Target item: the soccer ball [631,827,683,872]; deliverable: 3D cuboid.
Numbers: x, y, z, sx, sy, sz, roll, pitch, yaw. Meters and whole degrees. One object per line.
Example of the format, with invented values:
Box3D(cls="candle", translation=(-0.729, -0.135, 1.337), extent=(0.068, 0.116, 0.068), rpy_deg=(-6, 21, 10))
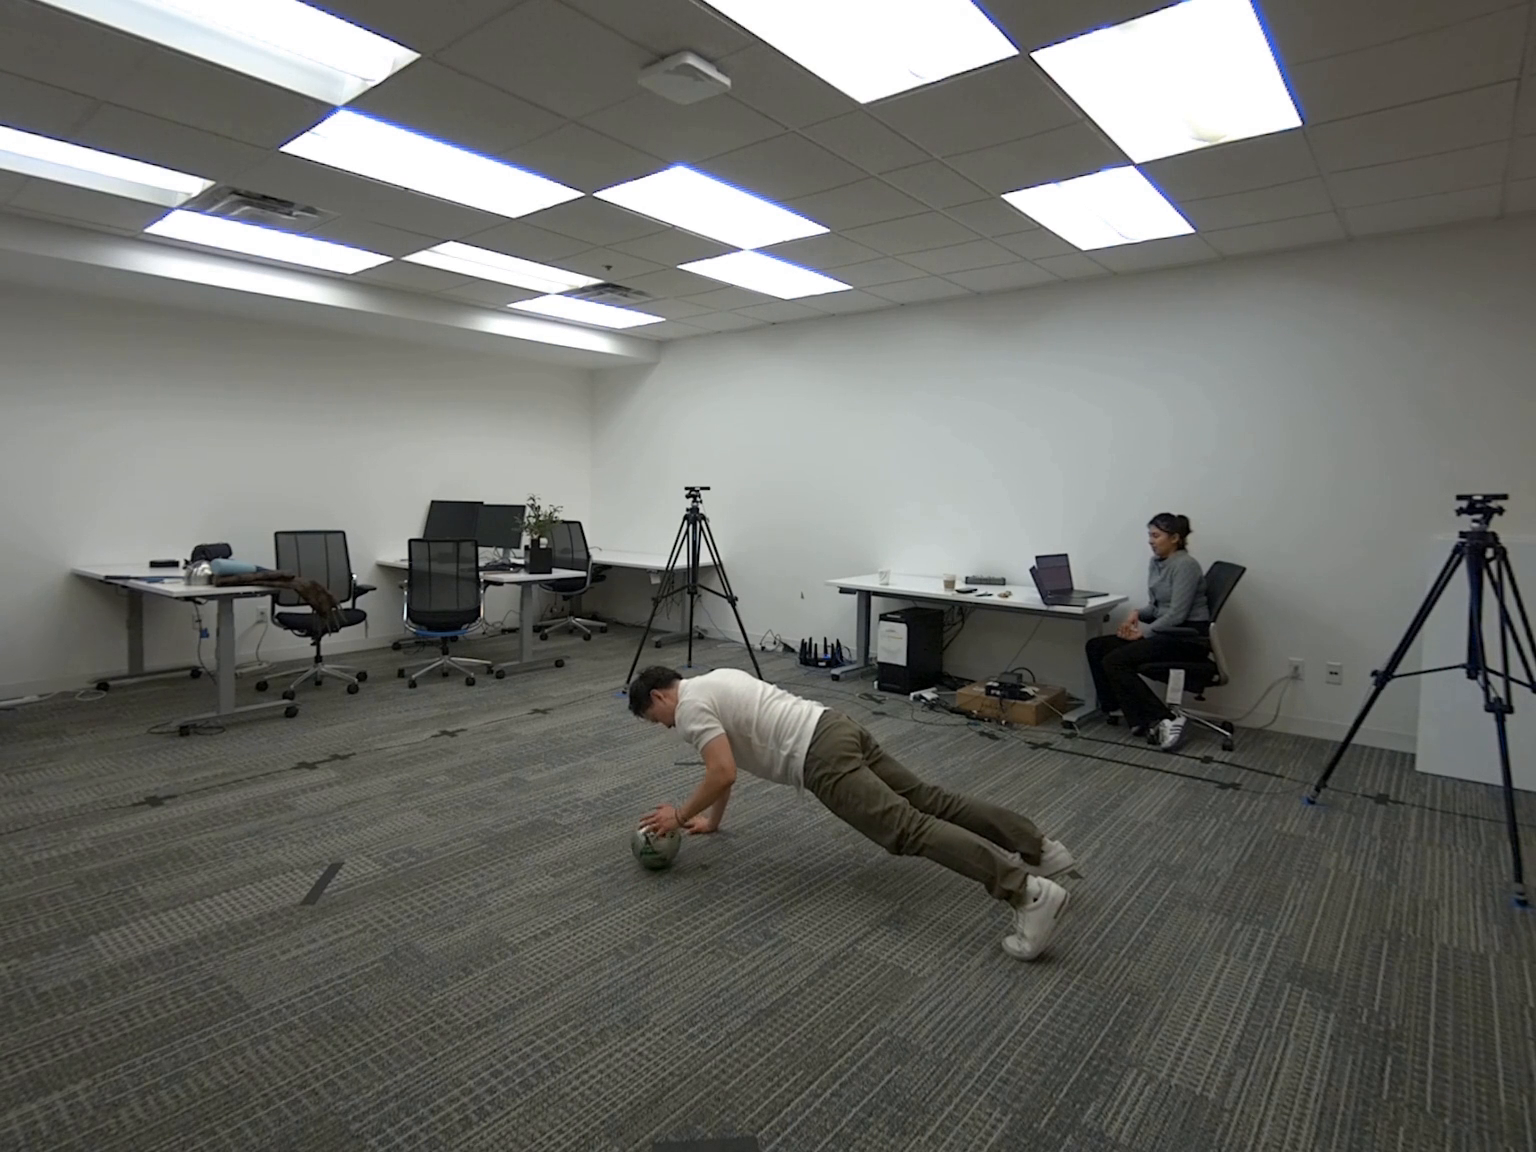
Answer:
Box3D(cls="soccer ball", translation=(-0.422, 0.966, 3.124), extent=(0.187, 0.187, 0.188), rpy_deg=(1, 4, -2))
